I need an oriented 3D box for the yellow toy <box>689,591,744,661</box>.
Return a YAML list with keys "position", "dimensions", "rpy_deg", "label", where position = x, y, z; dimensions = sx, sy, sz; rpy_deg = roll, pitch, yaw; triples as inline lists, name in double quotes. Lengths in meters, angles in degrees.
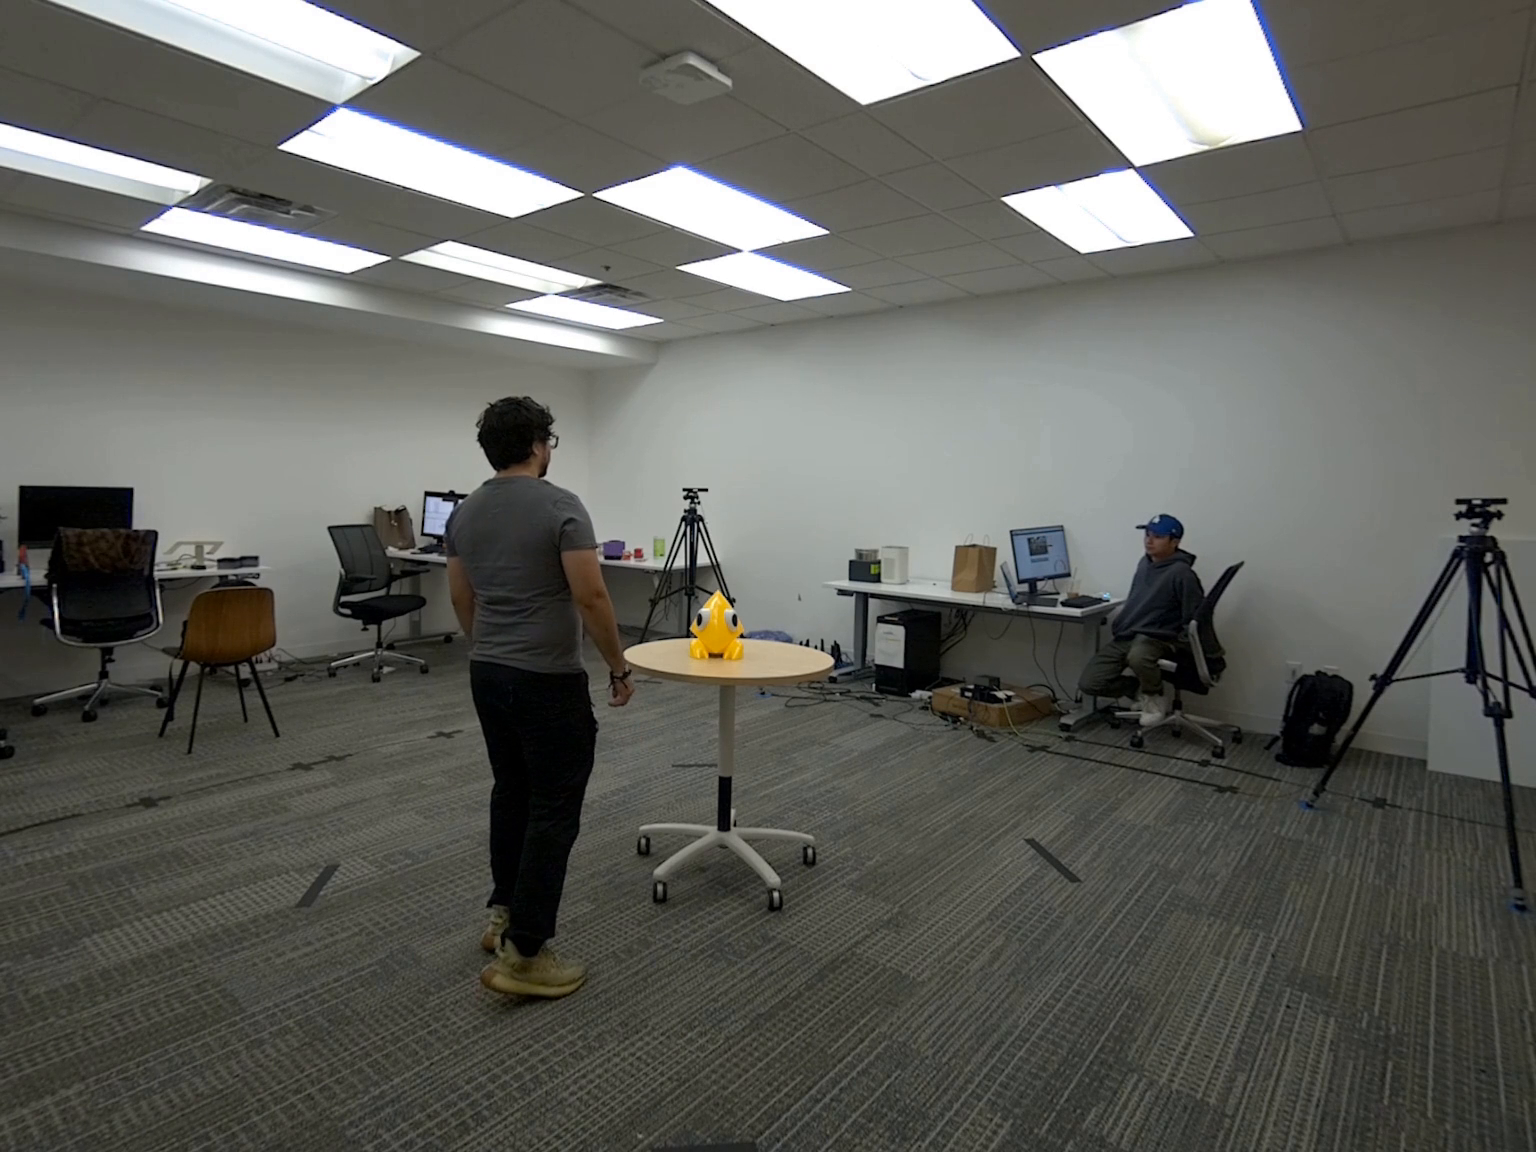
- position: [-0.193, 0.171, 3.102]
  dimensions: [0.205, 0.230, 0.194]
  rpy_deg: [1, 4, -2]
  label: "yellow toy"
